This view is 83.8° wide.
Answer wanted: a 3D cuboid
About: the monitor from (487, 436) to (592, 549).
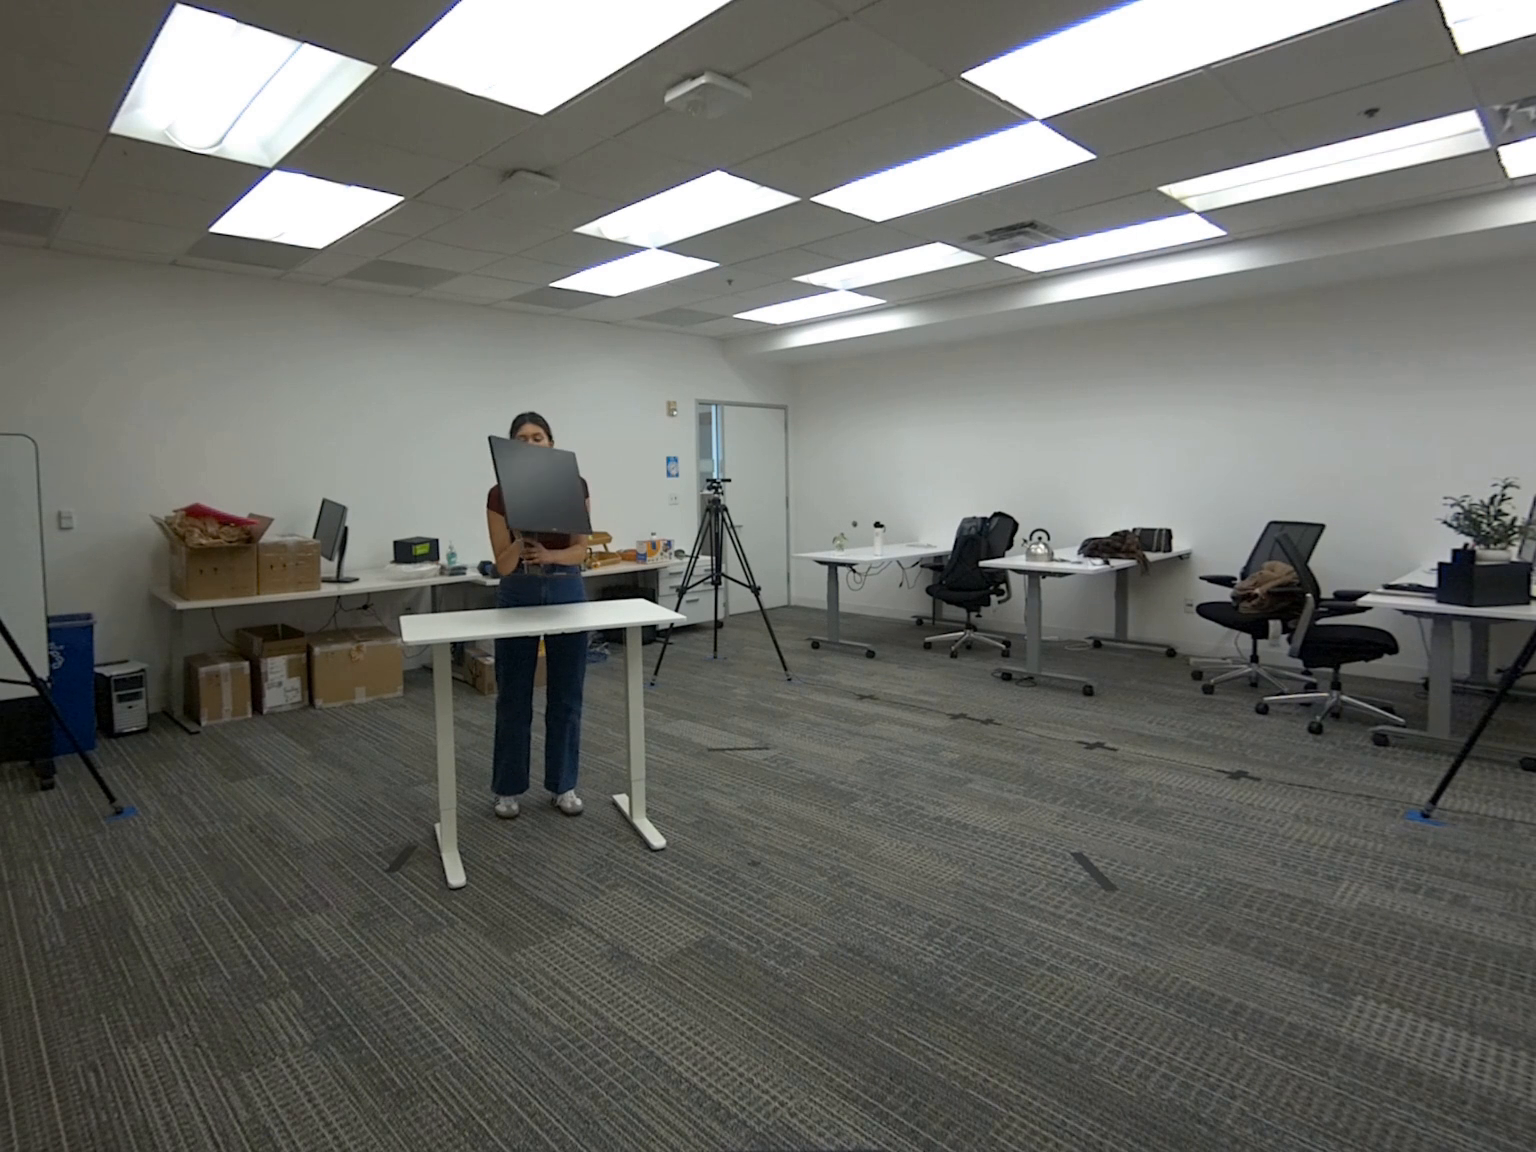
[{"bbox_3d":[-0.886,-0.246,3.283,0.190,0.524,0.528,-4,-3,19],"label":"monitor"}]
